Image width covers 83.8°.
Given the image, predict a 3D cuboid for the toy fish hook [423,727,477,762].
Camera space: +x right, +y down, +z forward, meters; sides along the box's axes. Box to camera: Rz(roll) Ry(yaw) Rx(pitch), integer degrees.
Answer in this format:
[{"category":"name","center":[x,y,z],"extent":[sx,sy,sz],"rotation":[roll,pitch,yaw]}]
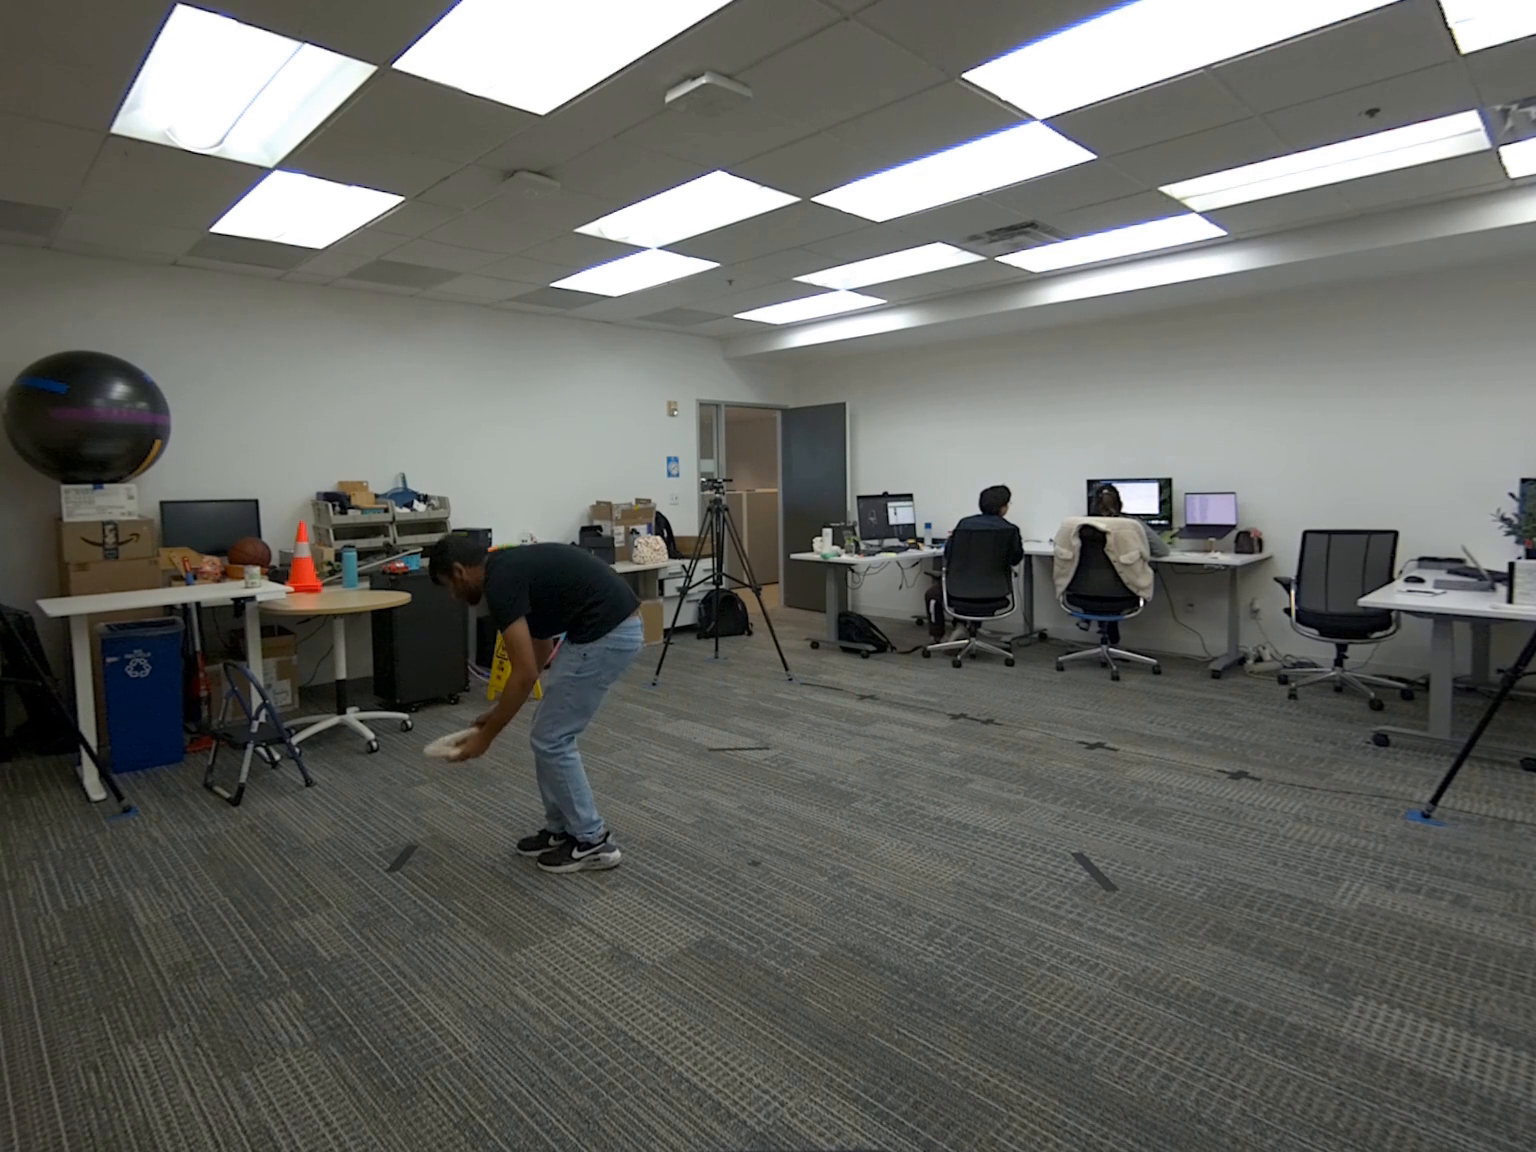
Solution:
[{"category":"toy fish hook","center":[-1.061,0.596,3.181],"extent":[0.228,0.048,0.501],"rotation":[3,6,13]}]
